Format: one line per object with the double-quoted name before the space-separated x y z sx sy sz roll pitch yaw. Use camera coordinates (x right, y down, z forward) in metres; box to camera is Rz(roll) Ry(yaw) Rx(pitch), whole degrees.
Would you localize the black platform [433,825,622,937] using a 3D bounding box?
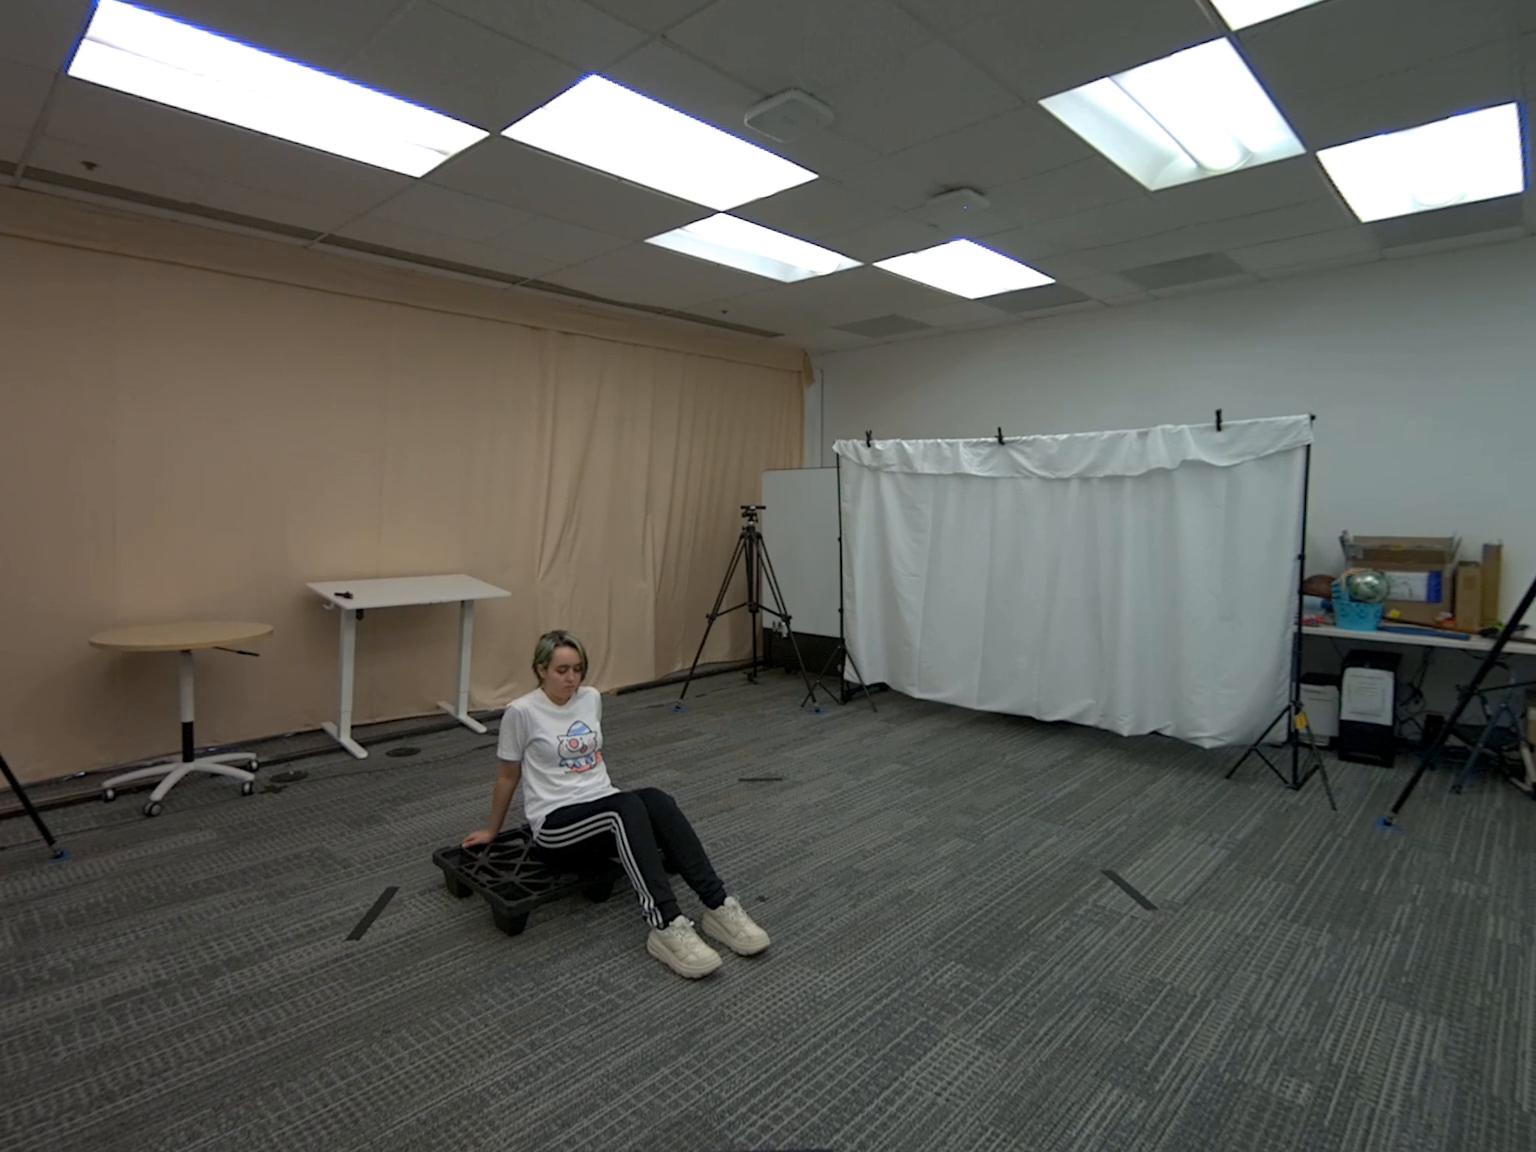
"black platform" -0.745 1.068 3.145 0.781 0.143 0.625 -6 7 -43
